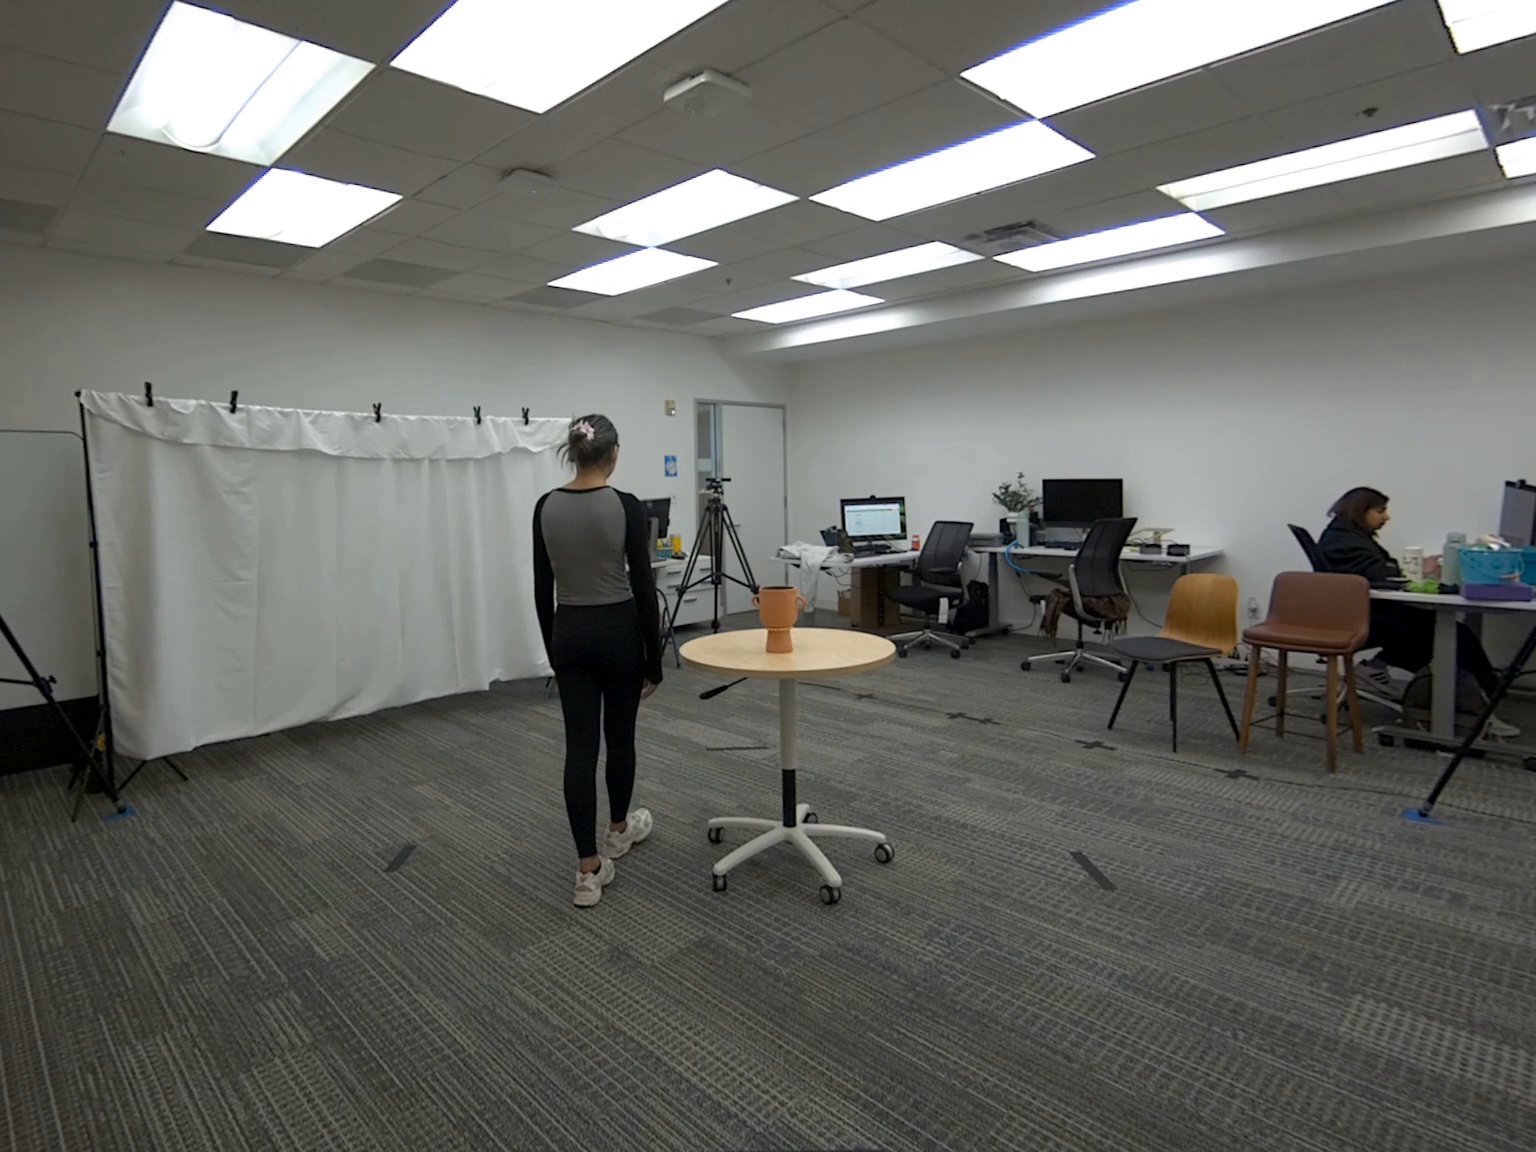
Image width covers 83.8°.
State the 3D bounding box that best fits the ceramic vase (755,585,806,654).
[{"bbox_3d":[0.038,0.152,2.978,0.131,0.219,0.163,-4,5,-31],"label":"ceramic vase"}]
